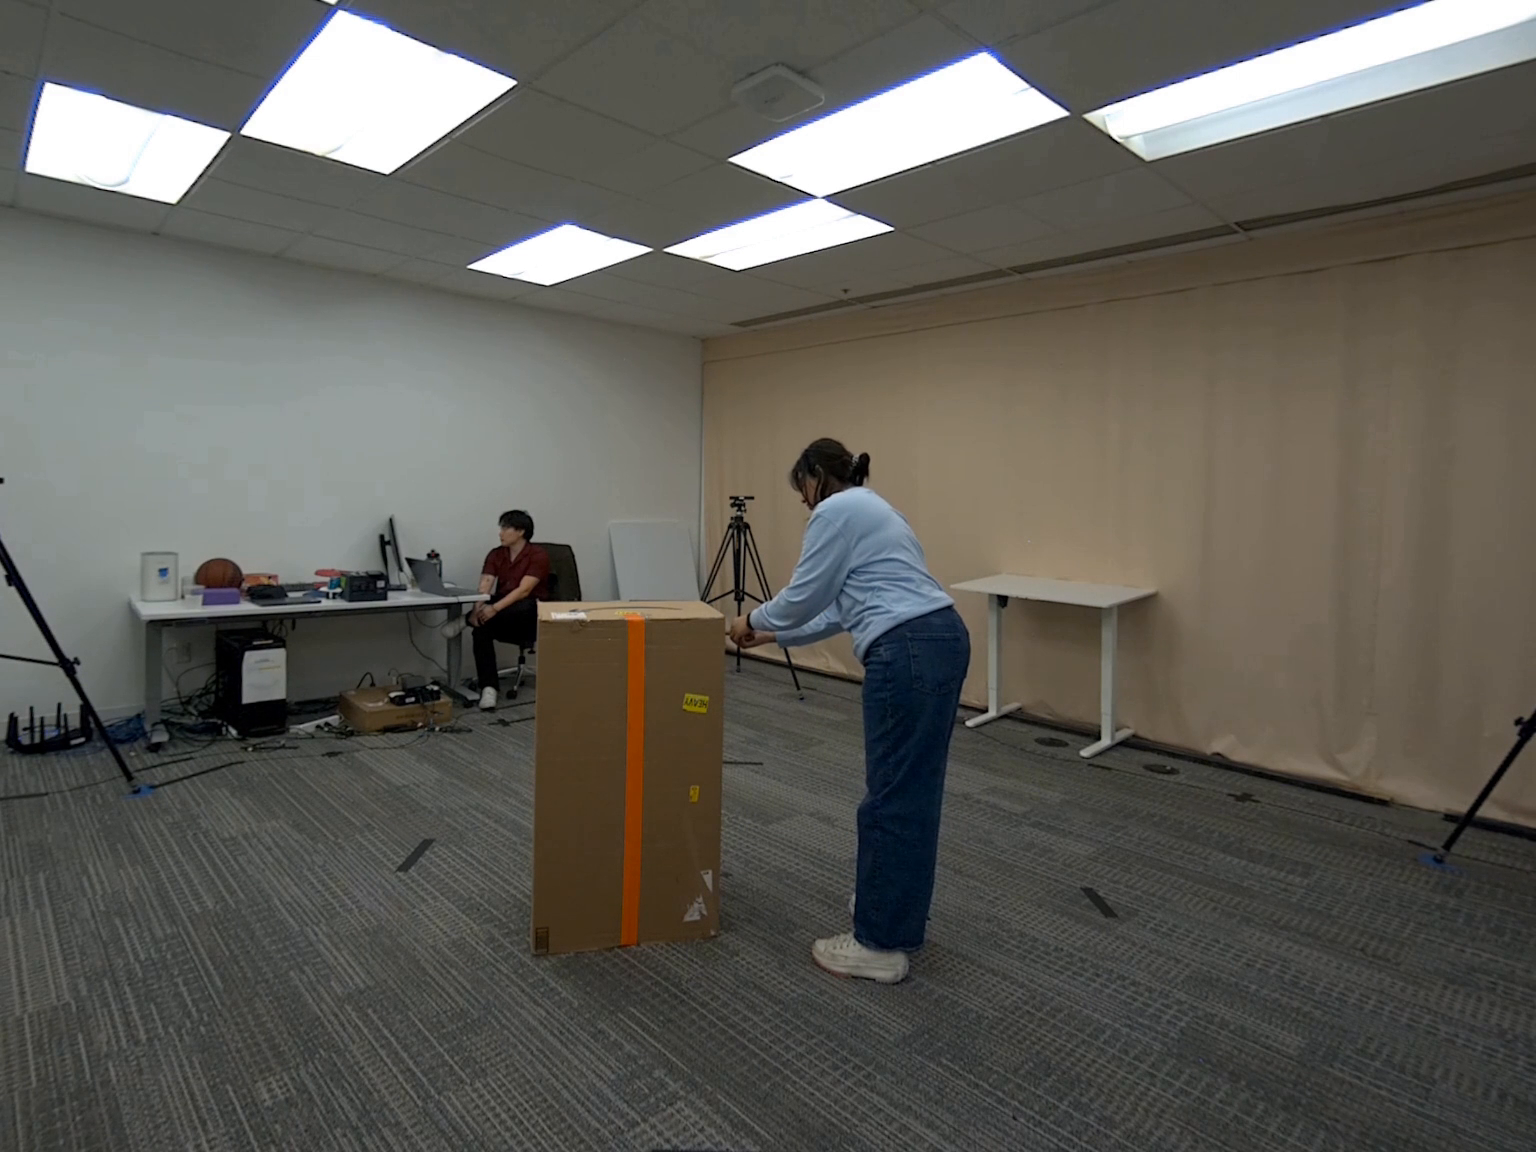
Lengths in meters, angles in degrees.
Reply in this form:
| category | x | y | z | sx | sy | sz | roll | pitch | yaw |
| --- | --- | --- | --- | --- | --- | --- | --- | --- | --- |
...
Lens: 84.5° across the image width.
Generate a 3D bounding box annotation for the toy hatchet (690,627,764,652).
| category | x | y | z | sx | sy | sz | roll | pitch | yaw |
| --- | --- | --- | --- | --- | --- | --- | --- | --- | --- |
| toy hatchet | -0.146 | 0.220 | 2.986 | 0.128 | 0.029 | 0.276 | -11 | 9 | -35 |
